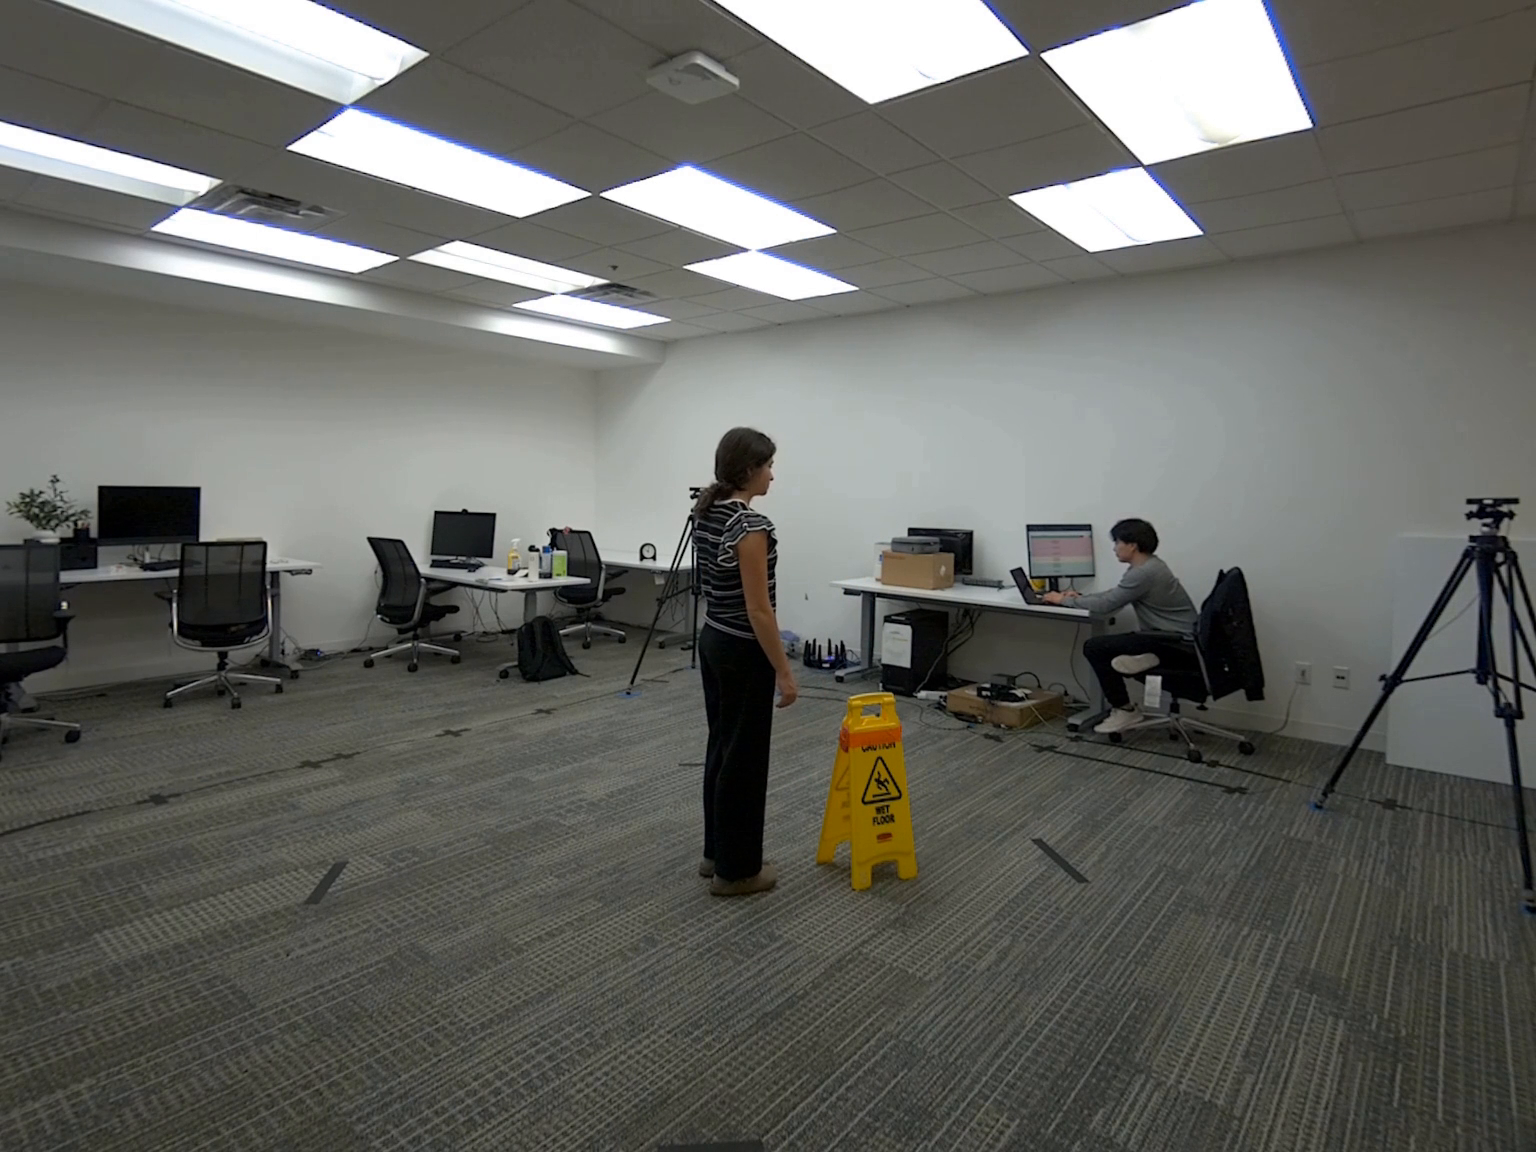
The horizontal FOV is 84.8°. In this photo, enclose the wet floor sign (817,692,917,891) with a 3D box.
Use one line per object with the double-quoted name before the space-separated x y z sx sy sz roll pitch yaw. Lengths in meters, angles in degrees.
"wet floor sign" 0.363 0.758 3.112 0.275 0.644 0.298 0 4 -28
